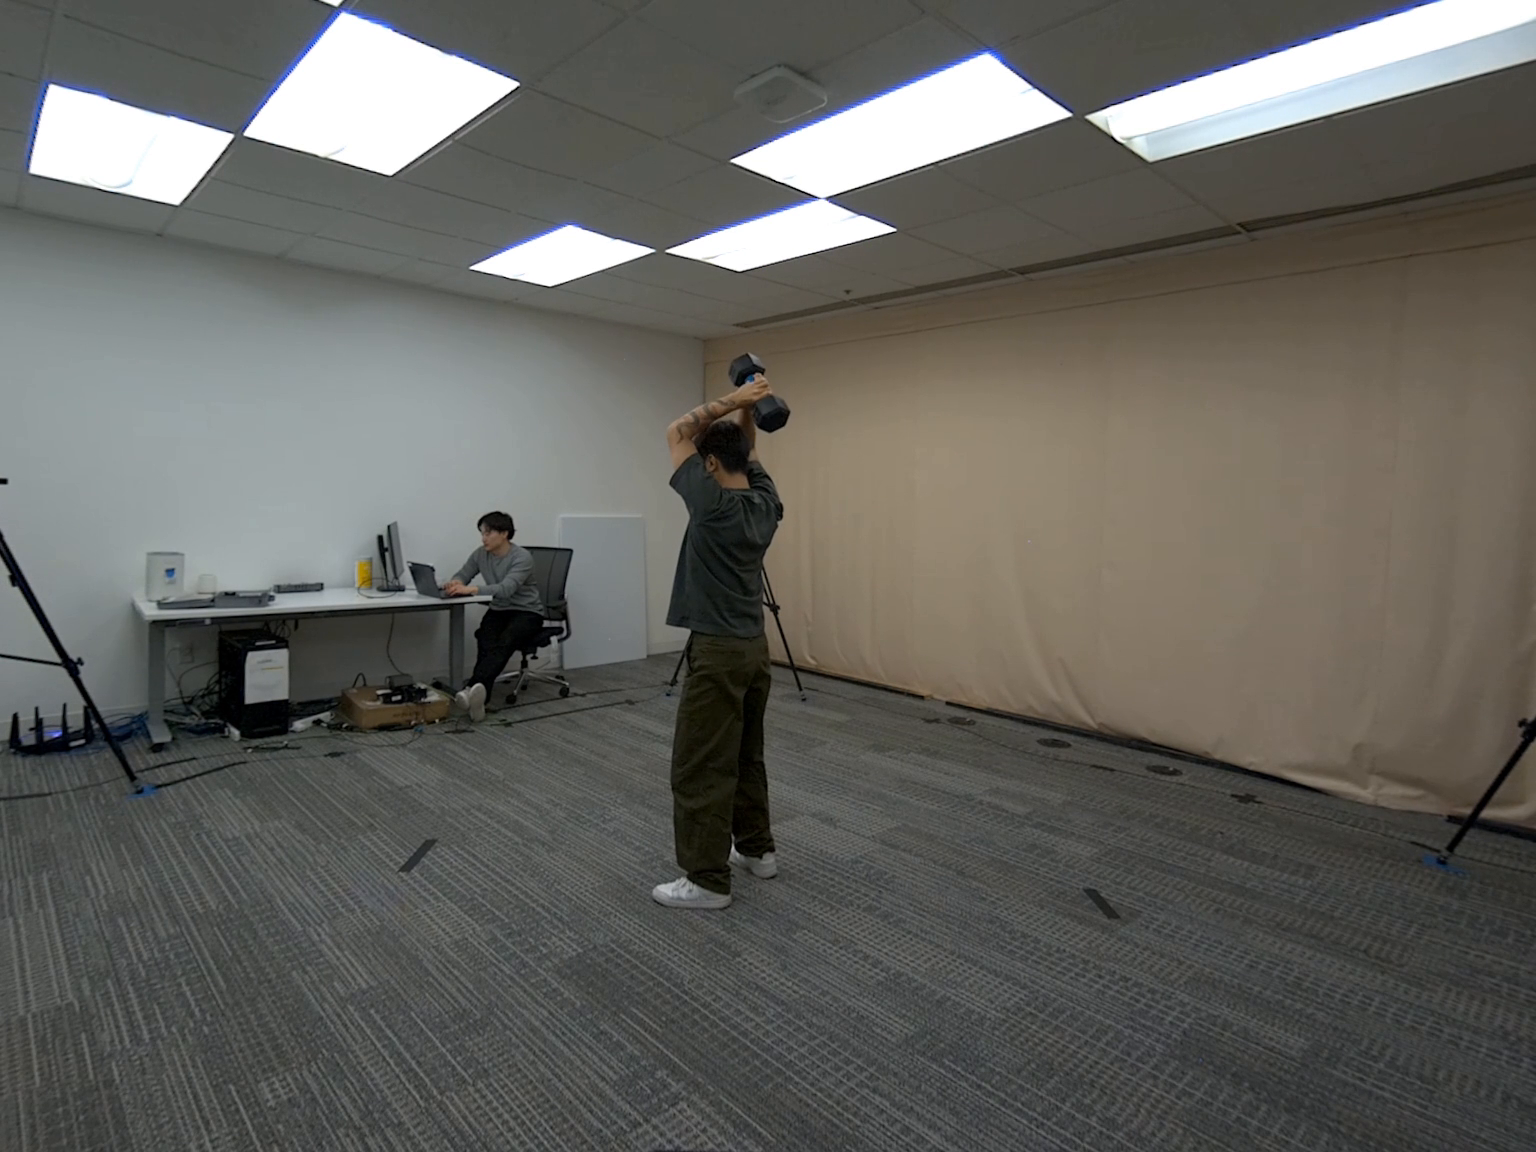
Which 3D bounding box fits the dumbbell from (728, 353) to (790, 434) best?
[{"bbox_3d":[-0.044,-0.628,2.870,0.107,0.302,0.121,-12,-35,-24],"label":"dumbbell"}]
